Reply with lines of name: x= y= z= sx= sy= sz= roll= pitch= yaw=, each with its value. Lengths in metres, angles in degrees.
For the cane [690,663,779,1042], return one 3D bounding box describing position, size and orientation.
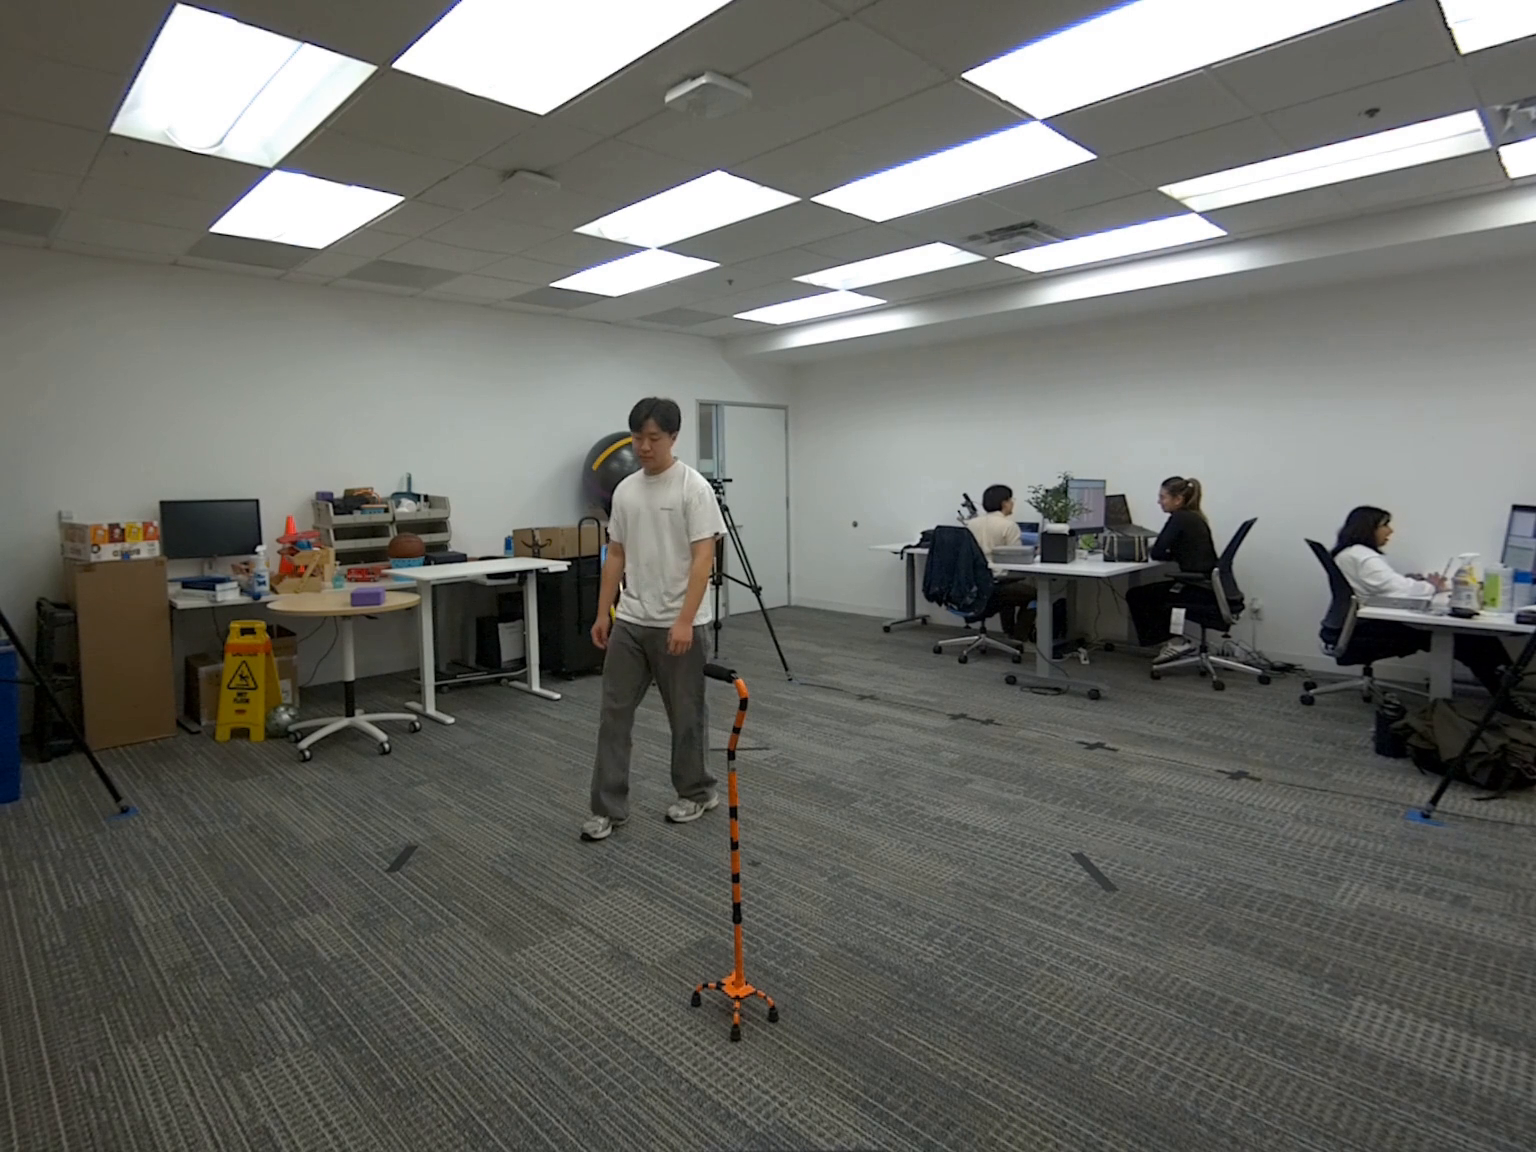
cane: x=-0.094 y=0.696 z=2.223 sx=0.148 sy=0.905 sz=0.212 roll=-4 pitch=4 yaw=-36
